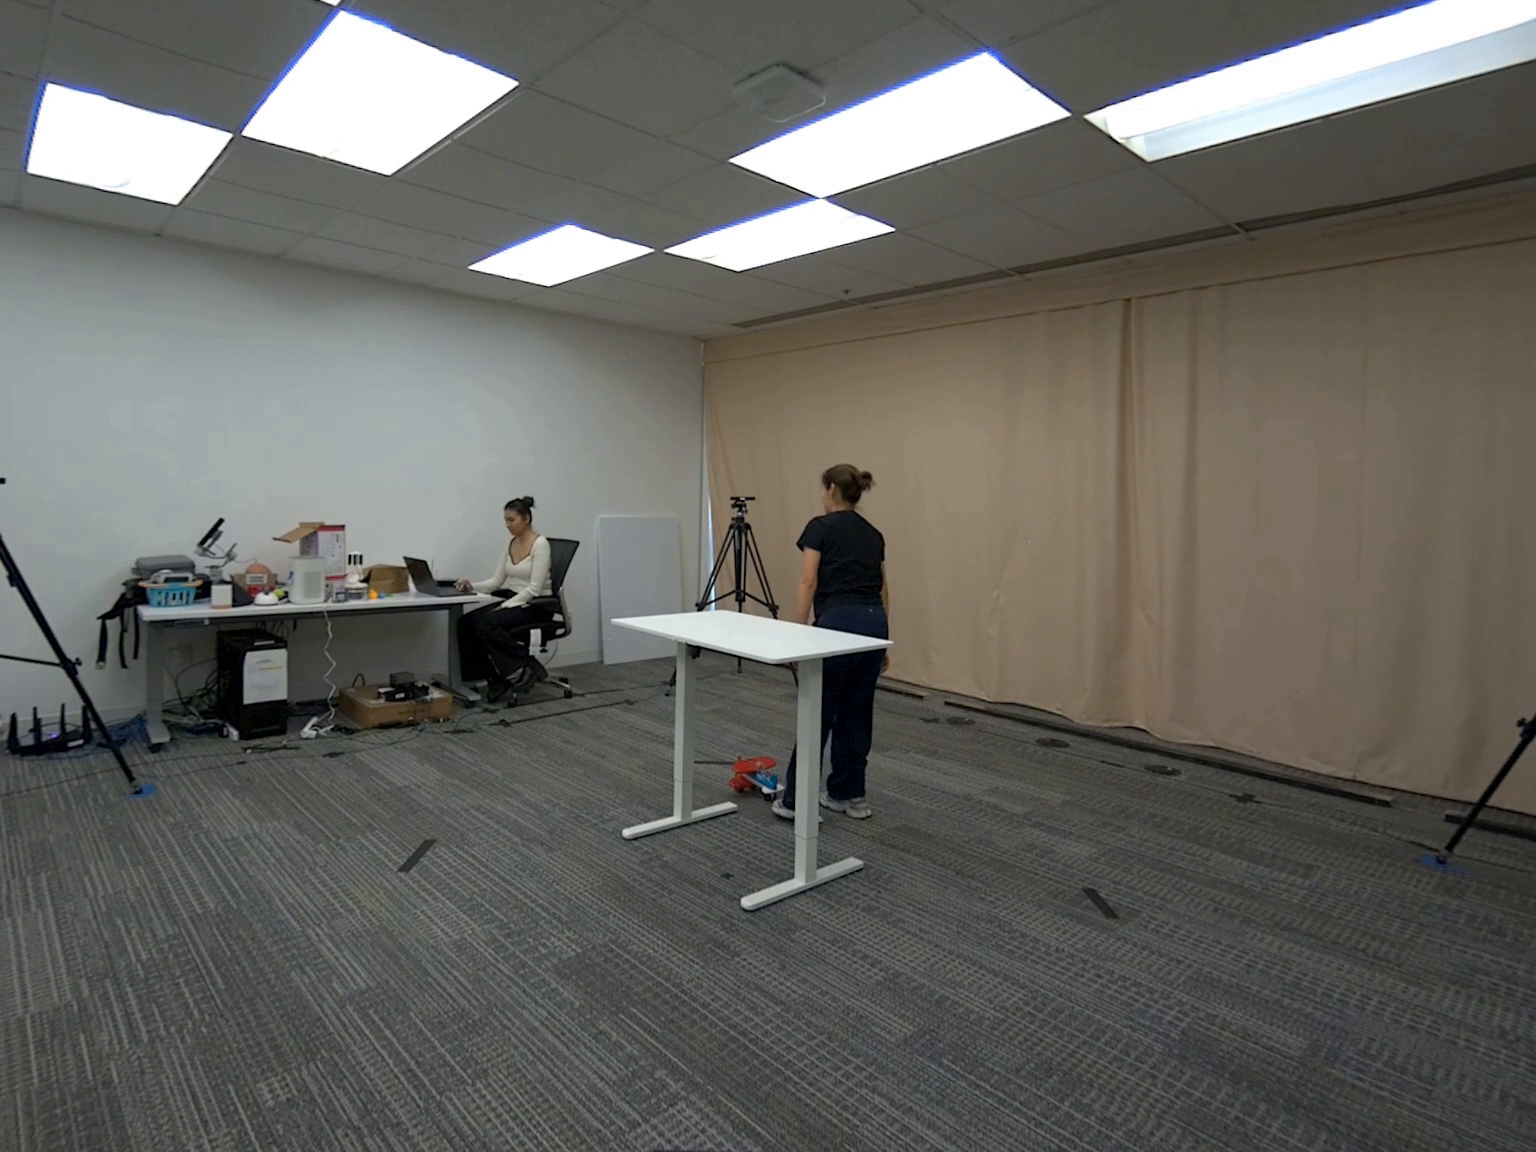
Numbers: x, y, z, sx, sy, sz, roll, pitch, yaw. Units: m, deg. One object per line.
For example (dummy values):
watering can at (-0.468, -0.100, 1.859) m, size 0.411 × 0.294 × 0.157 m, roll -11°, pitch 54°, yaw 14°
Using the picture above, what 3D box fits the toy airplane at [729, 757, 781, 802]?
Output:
toy airplane at (-0.041, 0.955, 3.987) m, size 0.263 × 0.156 × 0.247 m, roll 2°, pitch 4°, yaw 21°
